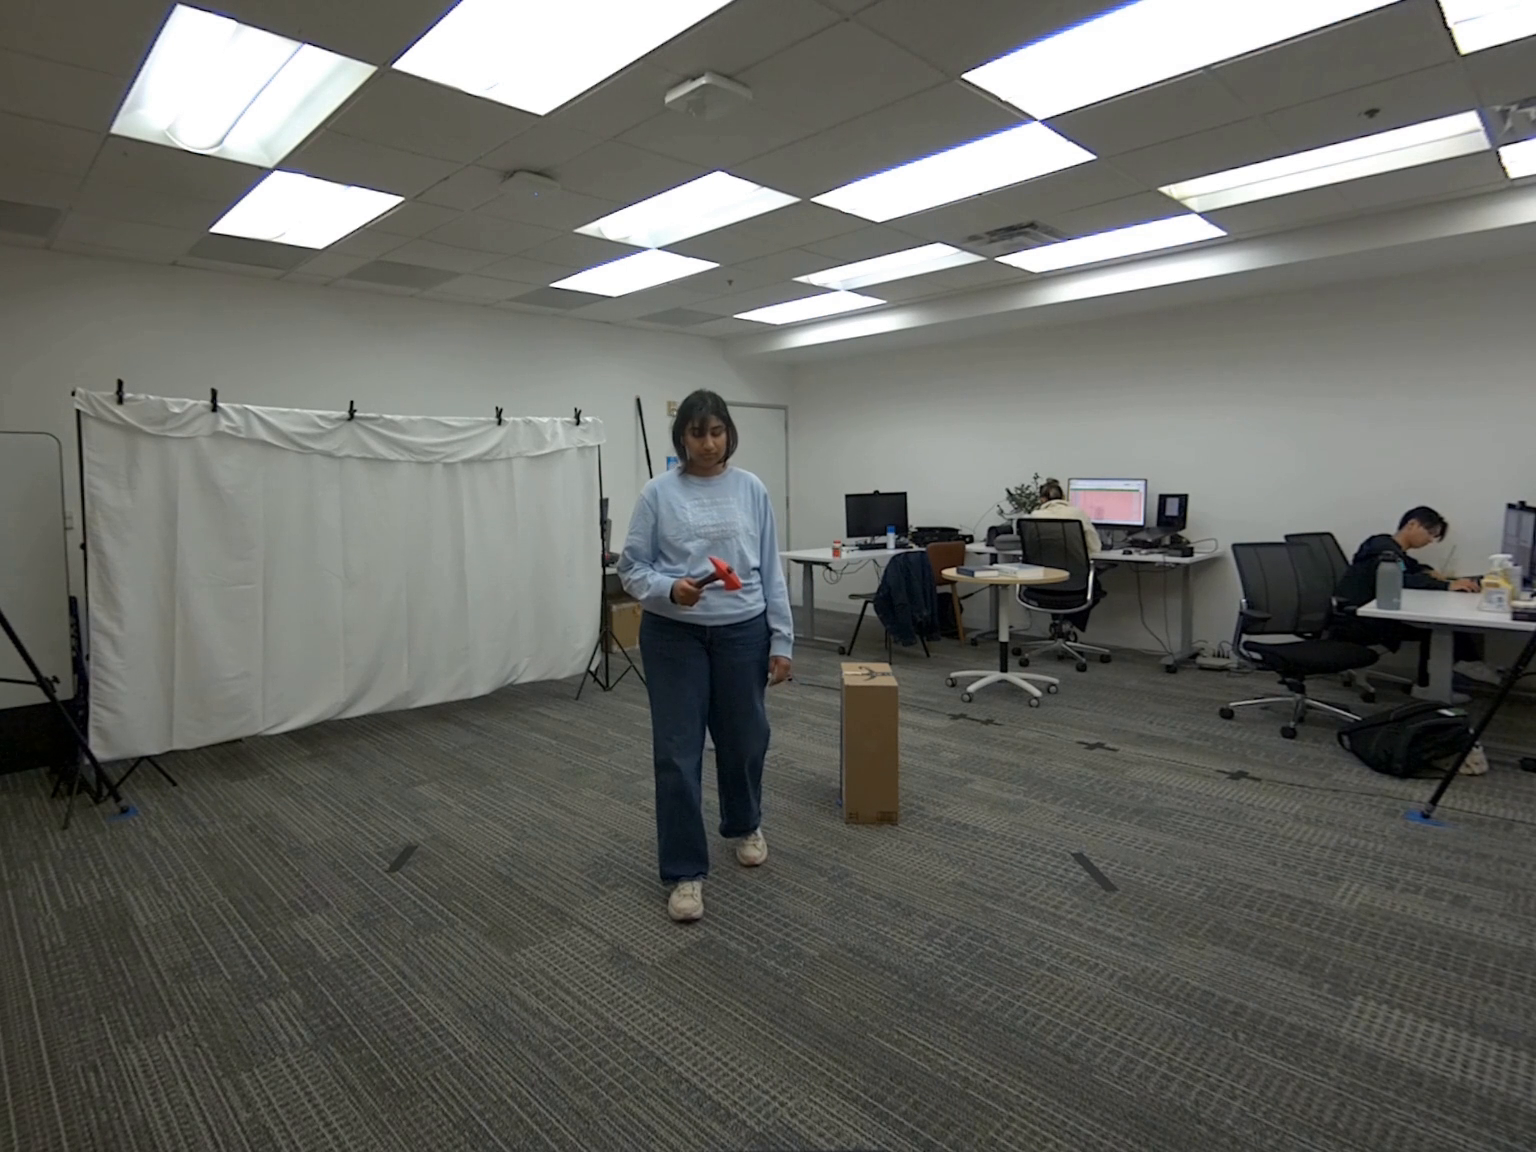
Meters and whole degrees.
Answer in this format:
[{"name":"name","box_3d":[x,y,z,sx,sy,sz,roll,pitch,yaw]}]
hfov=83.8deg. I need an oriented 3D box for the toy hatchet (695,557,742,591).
[{"name":"toy hatchet","box_3d":[-0.164,0.046,2.575,0.131,0.030,0.268,34,-38,-2]}]
